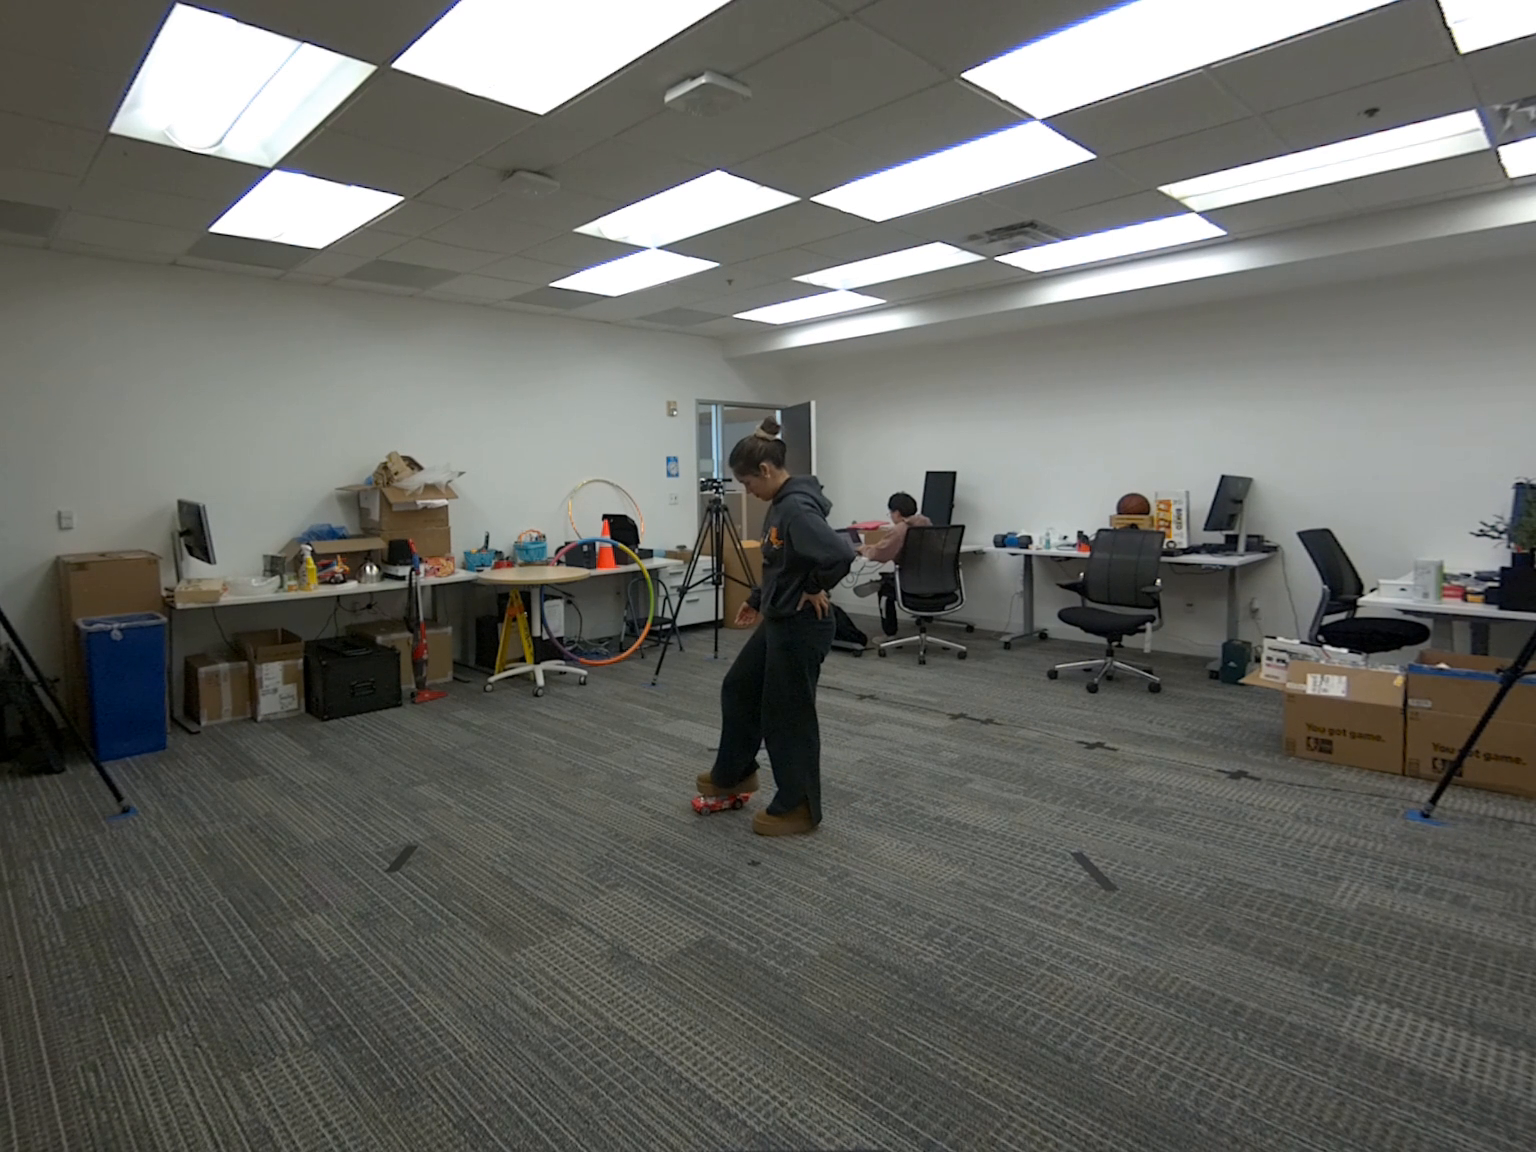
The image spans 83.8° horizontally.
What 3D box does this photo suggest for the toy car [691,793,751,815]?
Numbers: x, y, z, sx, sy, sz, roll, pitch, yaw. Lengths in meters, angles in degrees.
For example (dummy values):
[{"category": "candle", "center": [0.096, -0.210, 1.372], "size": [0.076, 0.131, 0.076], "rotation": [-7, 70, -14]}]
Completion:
[{"category": "toy car", "center": [-0.192, 0.960, 3.628], "size": [0.251, 0.082, 0.133], "rotation": [-16, 11, -18]}]
